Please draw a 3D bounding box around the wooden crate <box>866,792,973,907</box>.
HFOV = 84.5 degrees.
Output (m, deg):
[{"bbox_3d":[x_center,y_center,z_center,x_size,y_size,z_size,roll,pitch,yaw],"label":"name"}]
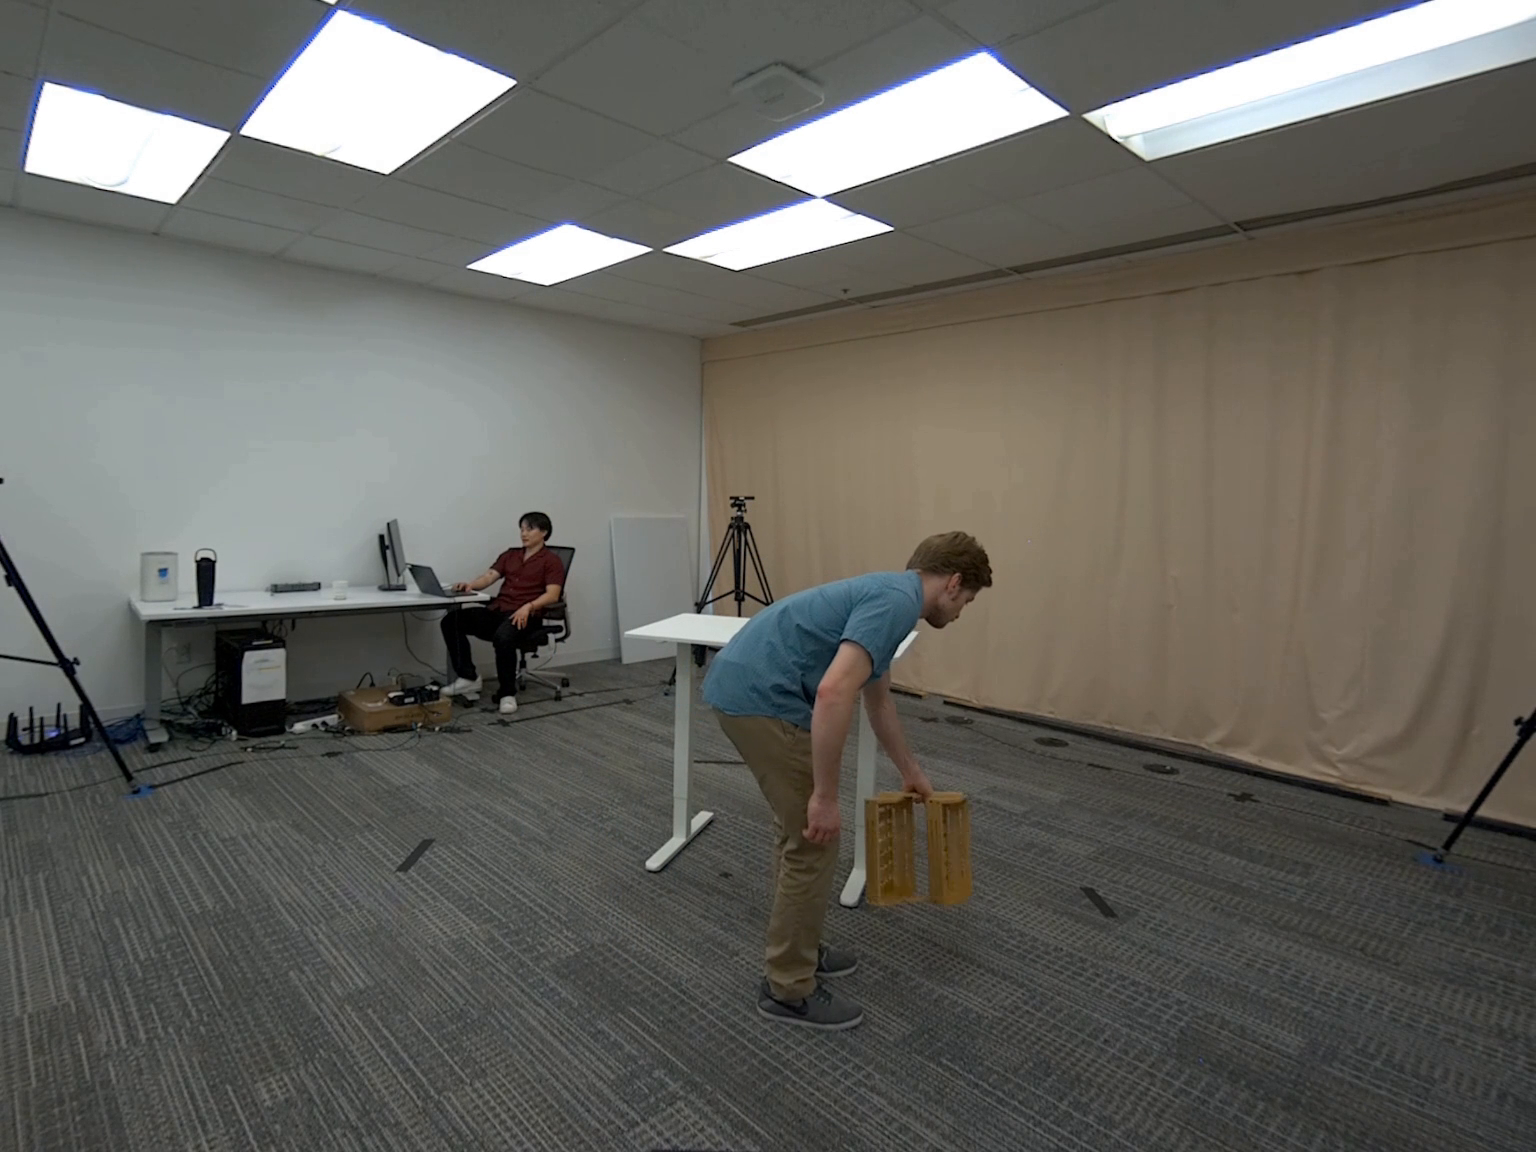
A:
[{"bbox_3d":[0.474,0.843,2.601,0.278,0.327,0.295,-5,-10,25],"label":"wooden crate"}]
